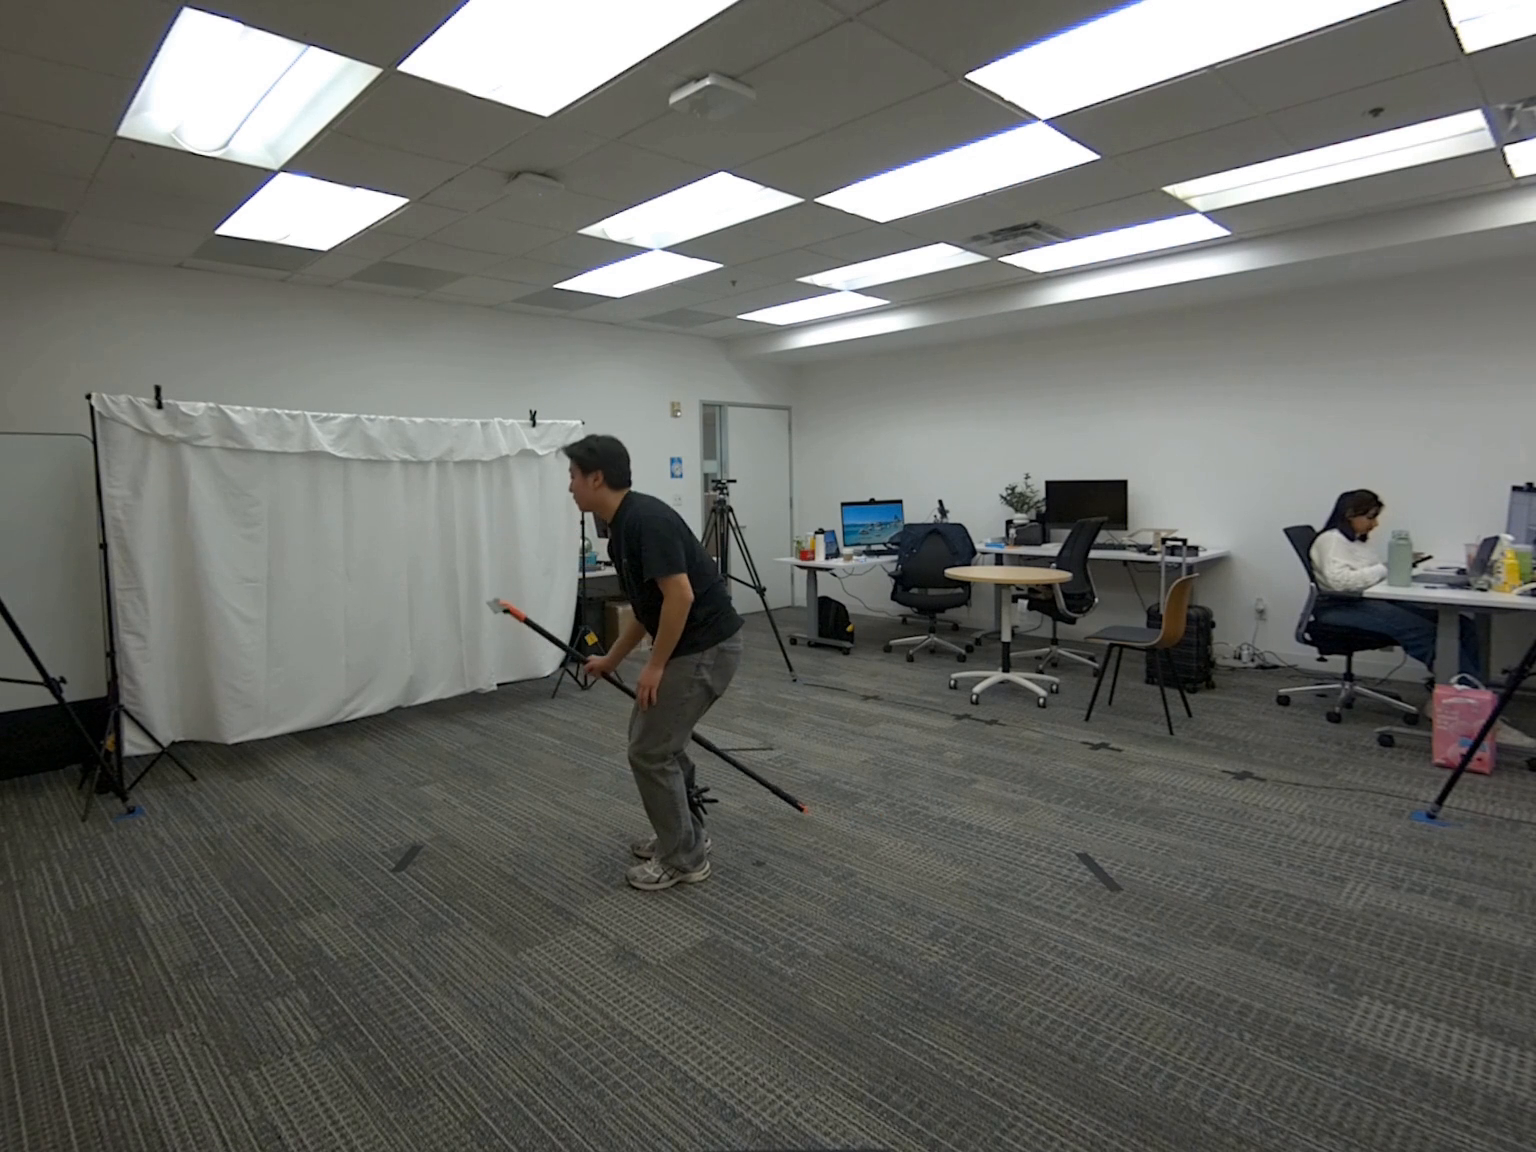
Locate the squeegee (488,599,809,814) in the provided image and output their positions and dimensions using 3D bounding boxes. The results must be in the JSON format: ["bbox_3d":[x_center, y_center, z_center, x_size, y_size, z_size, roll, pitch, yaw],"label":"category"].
[{"bbox_3d":[-0.418,0.542,3.337,1.508,0.053,0.445,34,-8,-15],"label":"squeegee"}]
